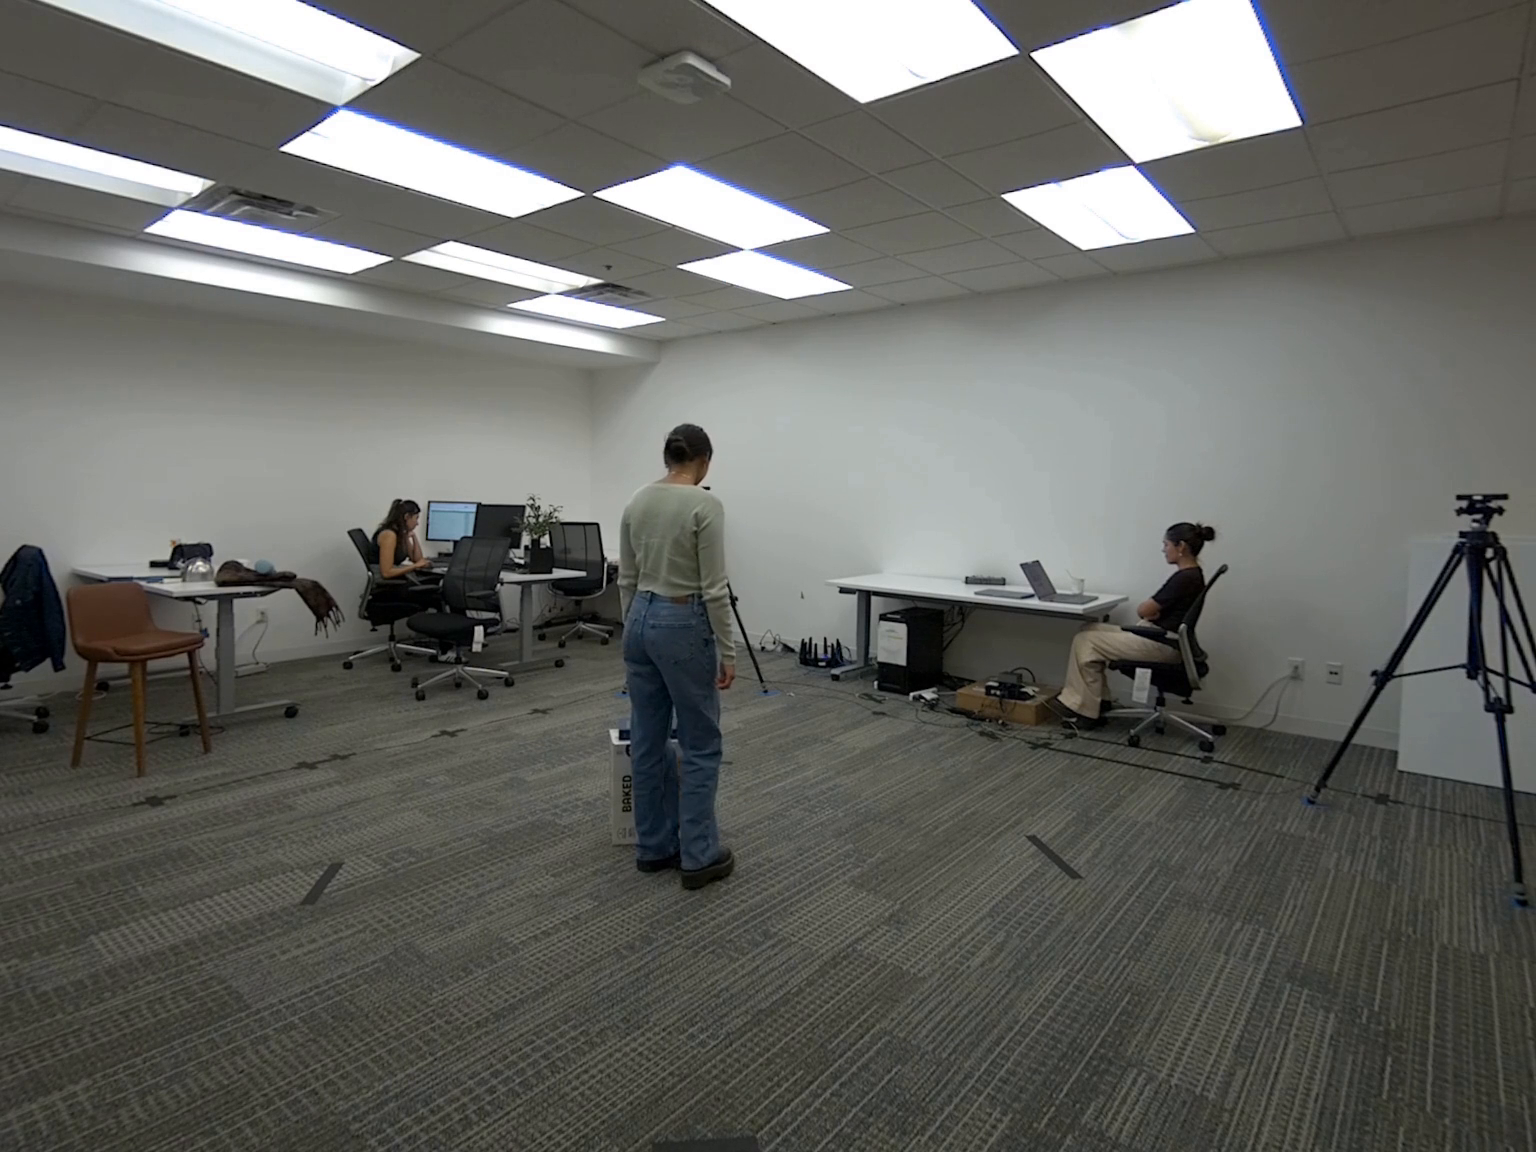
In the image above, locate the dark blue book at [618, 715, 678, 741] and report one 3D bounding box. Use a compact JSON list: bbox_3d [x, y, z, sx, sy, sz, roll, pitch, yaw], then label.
[{"bbox_3d":[-0.488,0.610,3.402,0.243,0.045,0.165,0,5,-7],"label":"dark blue book"}]
